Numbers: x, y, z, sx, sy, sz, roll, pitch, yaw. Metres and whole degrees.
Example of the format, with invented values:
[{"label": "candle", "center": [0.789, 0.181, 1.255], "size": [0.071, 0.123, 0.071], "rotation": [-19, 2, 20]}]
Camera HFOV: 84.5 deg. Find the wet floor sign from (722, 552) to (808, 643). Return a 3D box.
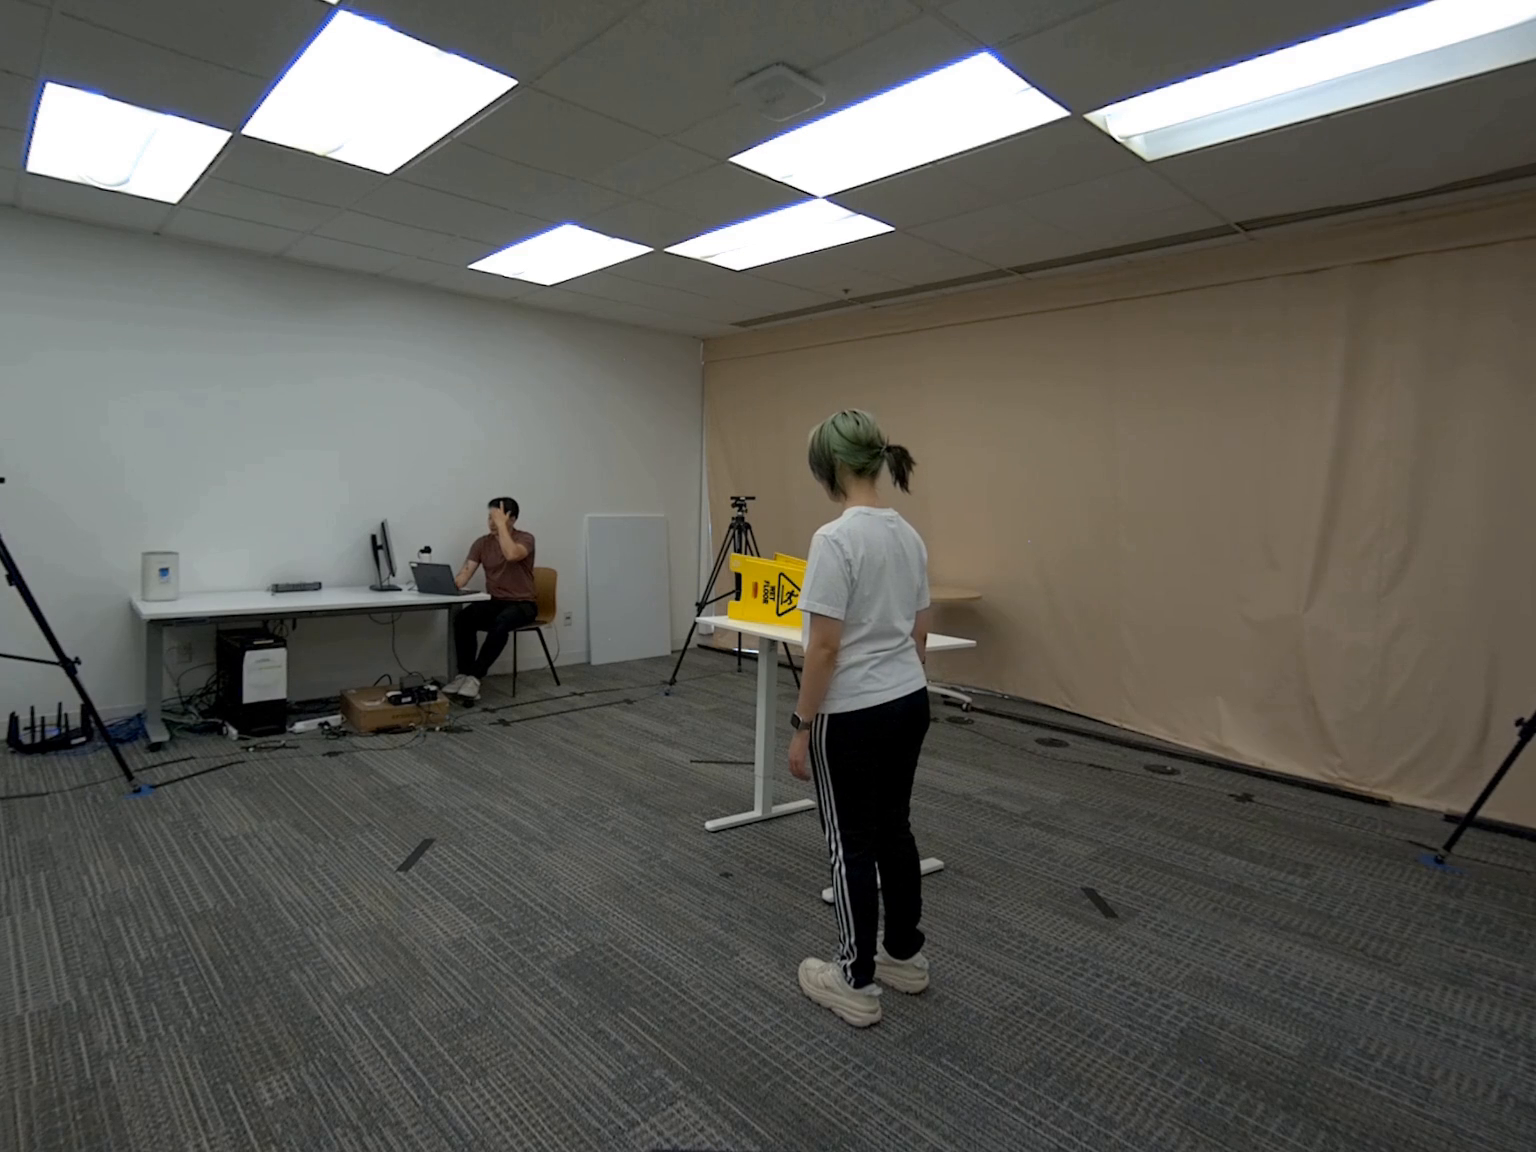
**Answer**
[{"label": "wet floor sign", "center": [0.126, 0.078, 3.401], "size": [0.283, 0.281, 0.663], "rotation": [-2, 7, -37]}]
